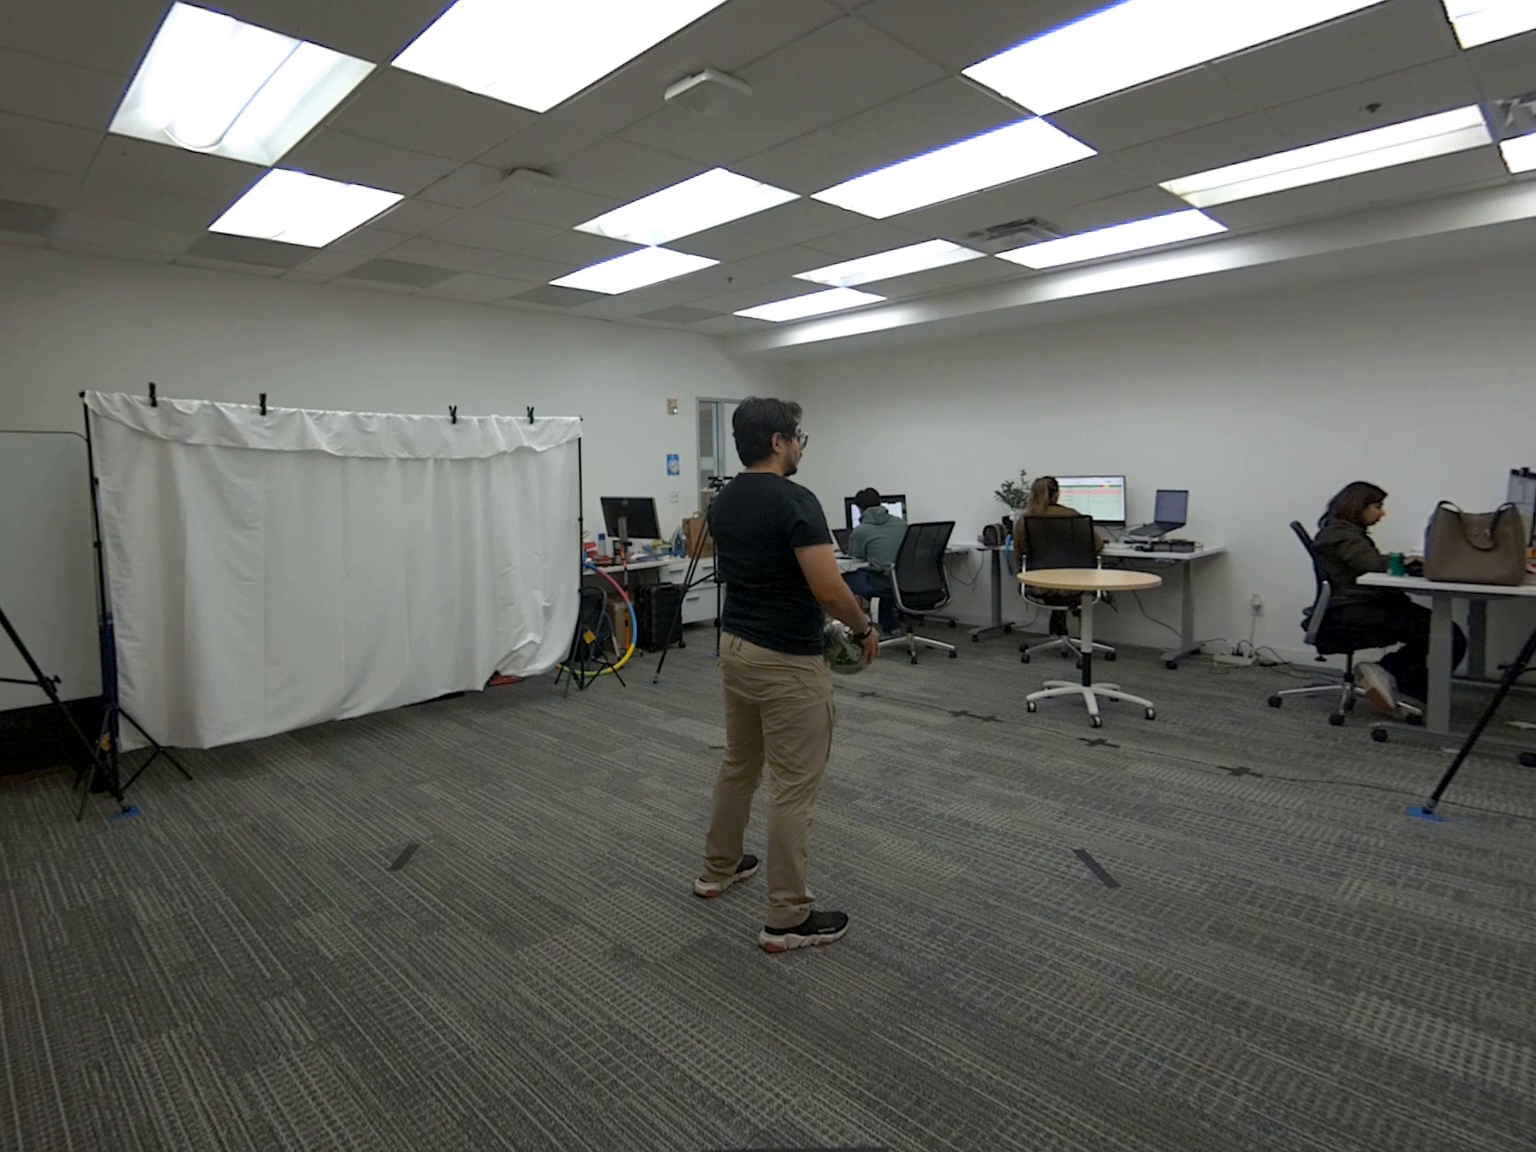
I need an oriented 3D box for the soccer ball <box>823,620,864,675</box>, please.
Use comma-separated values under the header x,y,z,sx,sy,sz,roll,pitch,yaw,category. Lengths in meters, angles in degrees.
x,y,z,sx,sy,sz,roll,pitch,yaw,category
0.258,0.226,2.782,0.187,0.187,0.188,-1,5,-2,soccer ball
